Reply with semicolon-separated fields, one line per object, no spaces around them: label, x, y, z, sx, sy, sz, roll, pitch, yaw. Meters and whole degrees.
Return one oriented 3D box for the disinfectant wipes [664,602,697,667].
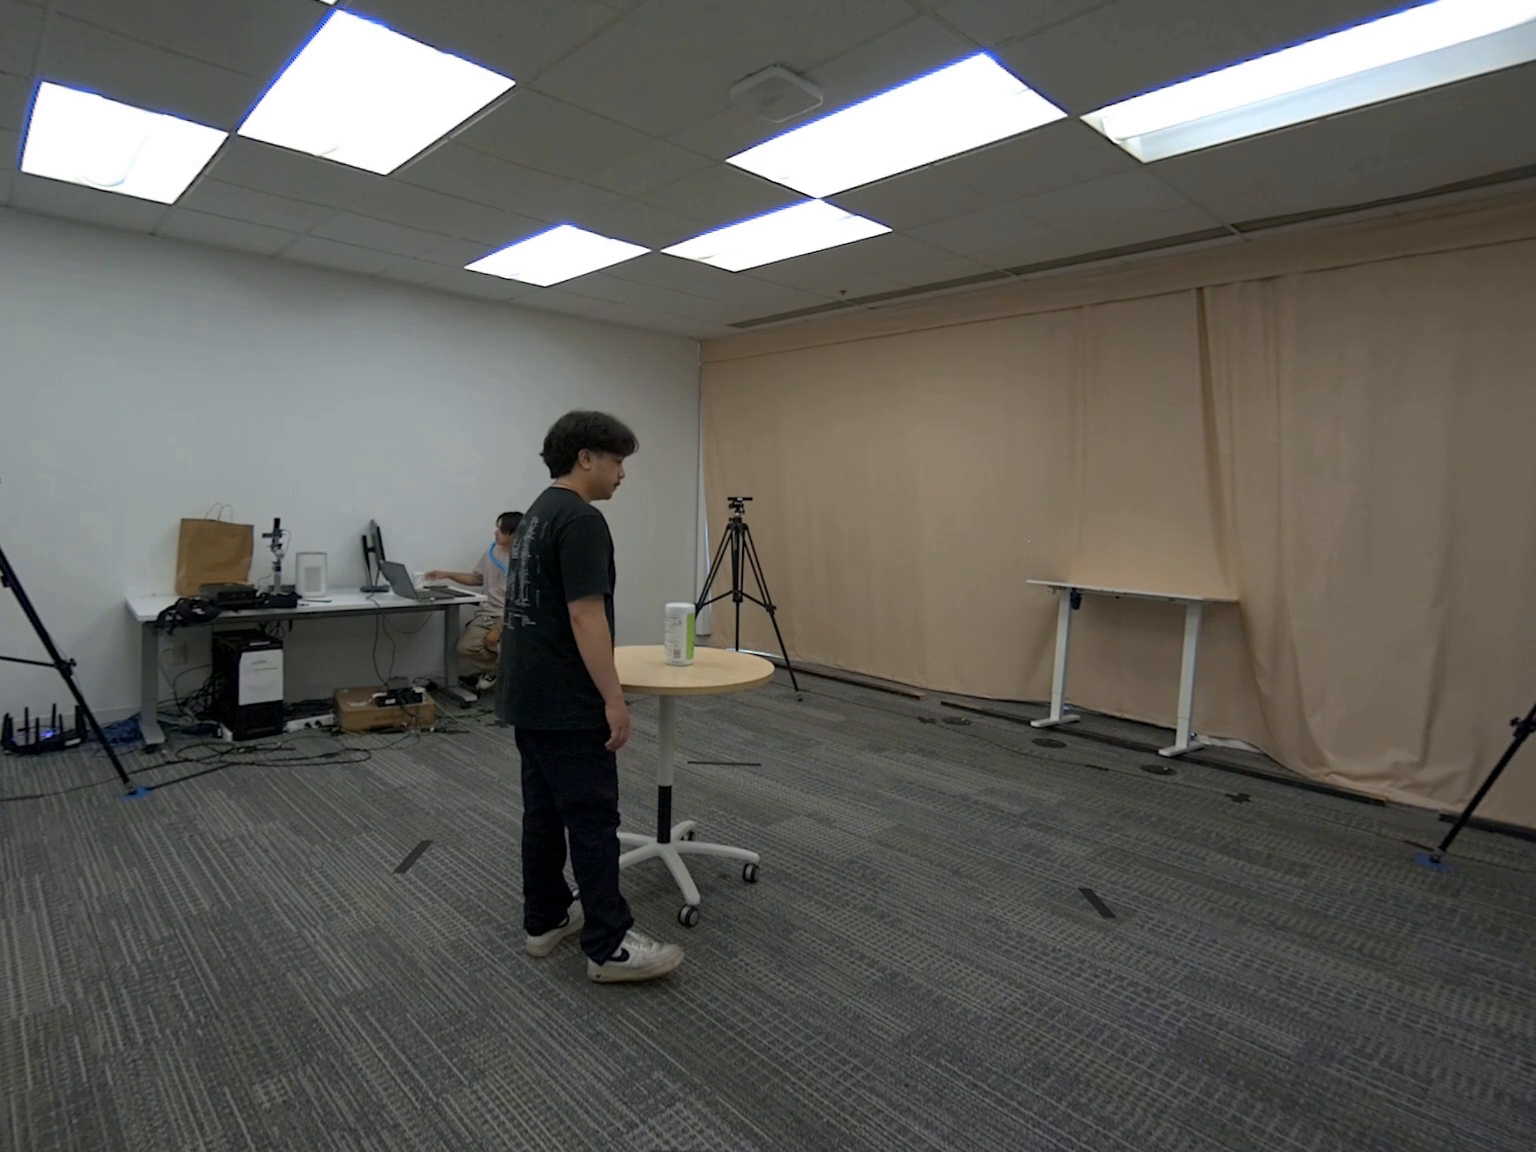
disinfectant wipes;-0.328;0.212;3.037;0.118;0.217;0.118;3;3;-2
